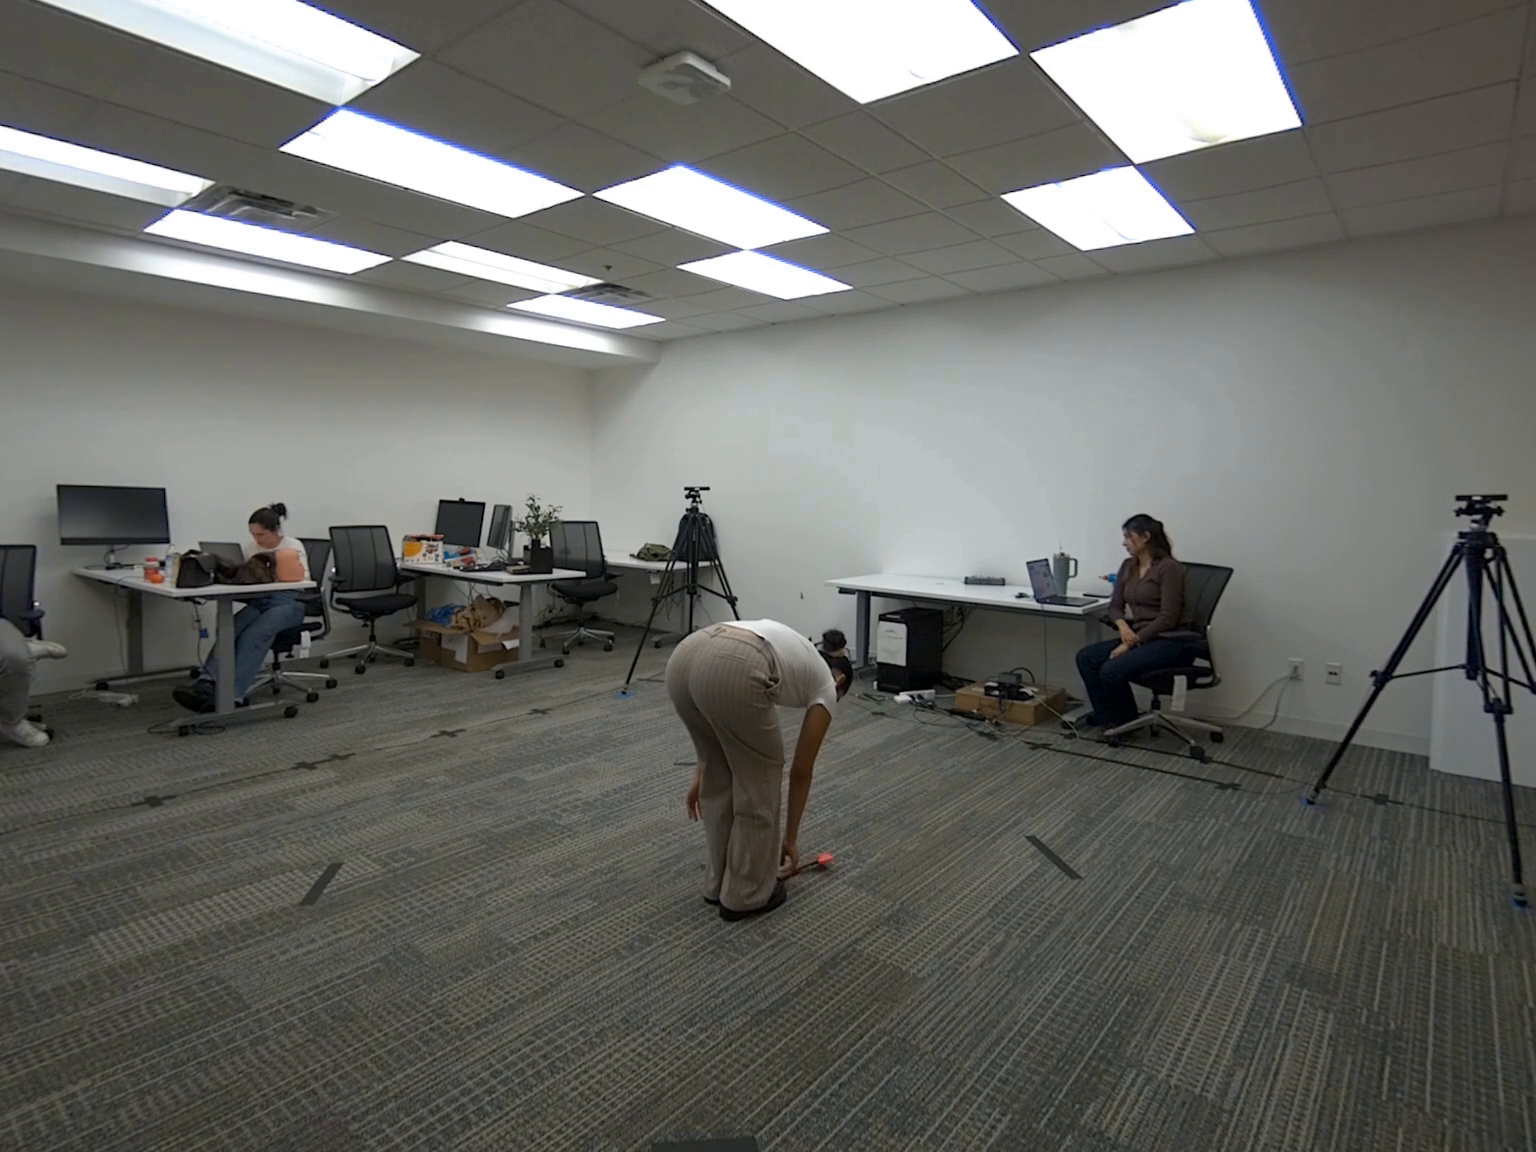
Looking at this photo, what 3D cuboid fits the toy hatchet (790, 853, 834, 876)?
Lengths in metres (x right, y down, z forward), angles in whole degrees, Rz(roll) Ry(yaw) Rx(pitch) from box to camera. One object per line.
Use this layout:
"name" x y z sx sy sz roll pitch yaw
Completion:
"toy hatchet" 0.136 1.053 3.063 0.134 0.030 0.262 -15 -5 39
